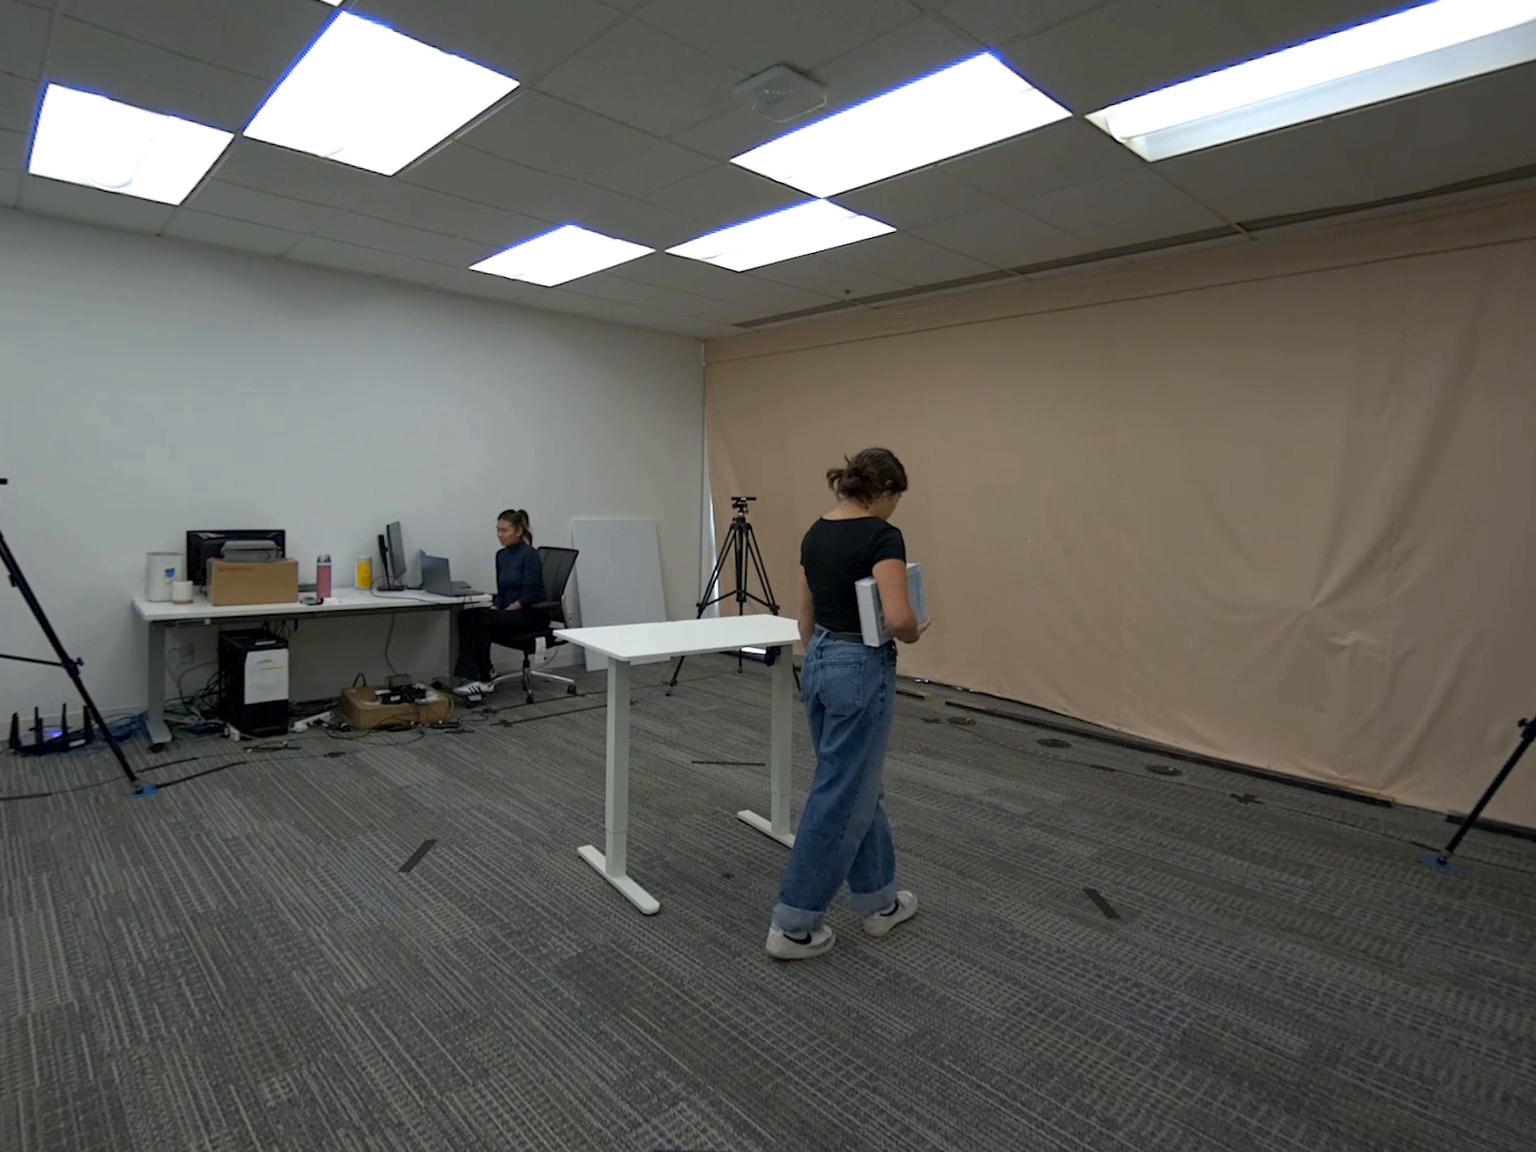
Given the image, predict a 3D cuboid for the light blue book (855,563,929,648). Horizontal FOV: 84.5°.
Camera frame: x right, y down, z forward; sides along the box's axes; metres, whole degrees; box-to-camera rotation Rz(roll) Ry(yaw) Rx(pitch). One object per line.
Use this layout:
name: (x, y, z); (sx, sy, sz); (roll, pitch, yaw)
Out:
light blue book: (0.368, 0.075, 2.516); (0.060, 0.190, 0.257); (-2, 13, 45)
